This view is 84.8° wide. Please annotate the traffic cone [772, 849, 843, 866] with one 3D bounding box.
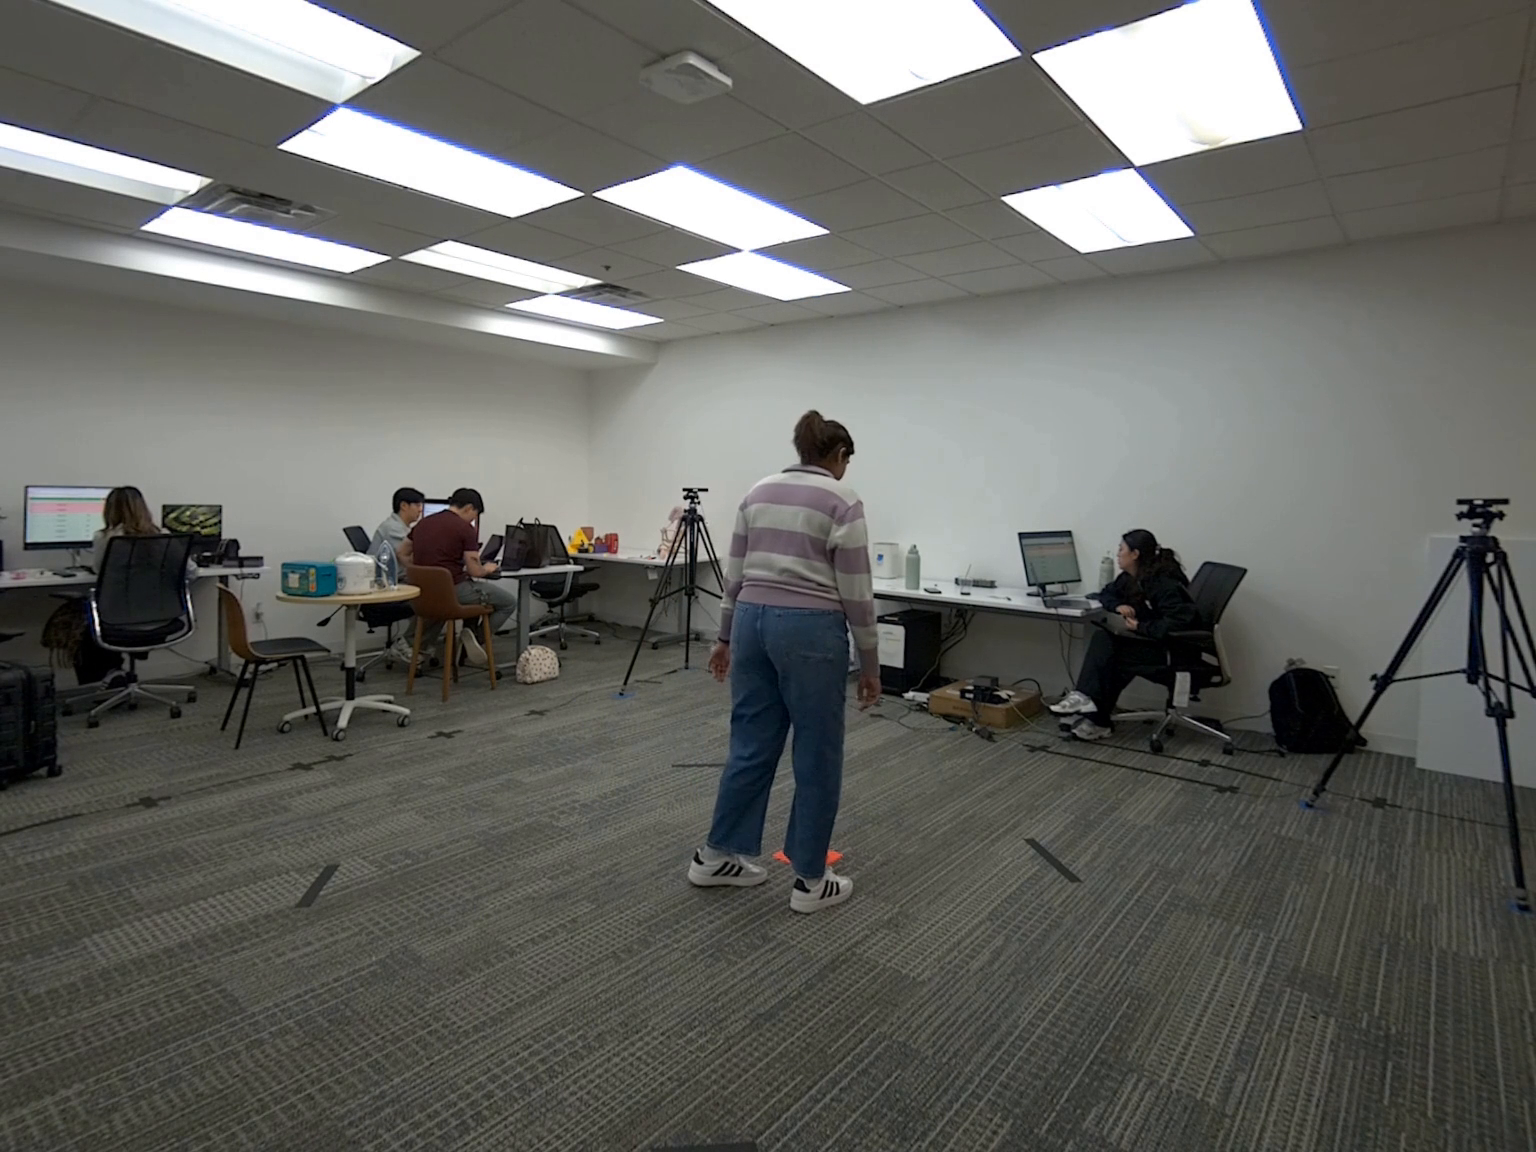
[{"bbox_3d":[0.143,0.871,3.230,0.210,0.383,0.199,3,4,37],"label":"traffic cone"}]
